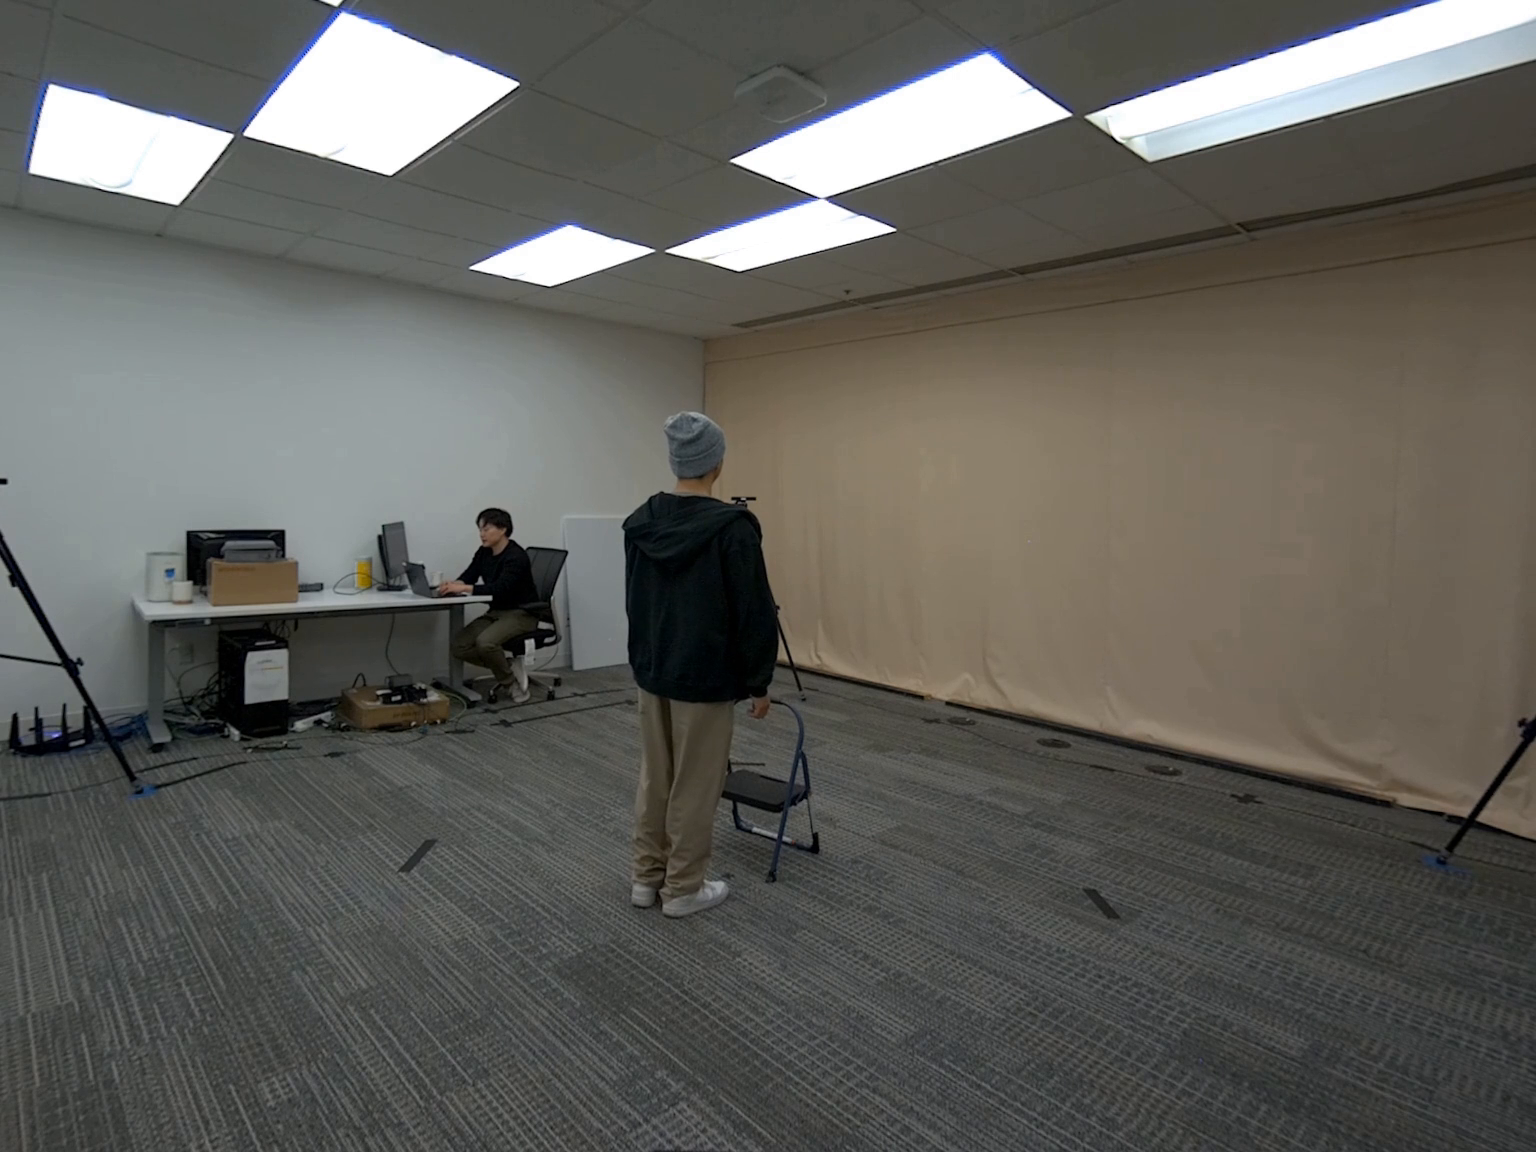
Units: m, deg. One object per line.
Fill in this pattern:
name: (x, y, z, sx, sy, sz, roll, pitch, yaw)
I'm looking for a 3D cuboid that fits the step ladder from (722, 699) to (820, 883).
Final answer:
step ladder: (-0.055, 0.789, 3.306, 0.441, 0.604, 0.342, 4, 4, 36)
